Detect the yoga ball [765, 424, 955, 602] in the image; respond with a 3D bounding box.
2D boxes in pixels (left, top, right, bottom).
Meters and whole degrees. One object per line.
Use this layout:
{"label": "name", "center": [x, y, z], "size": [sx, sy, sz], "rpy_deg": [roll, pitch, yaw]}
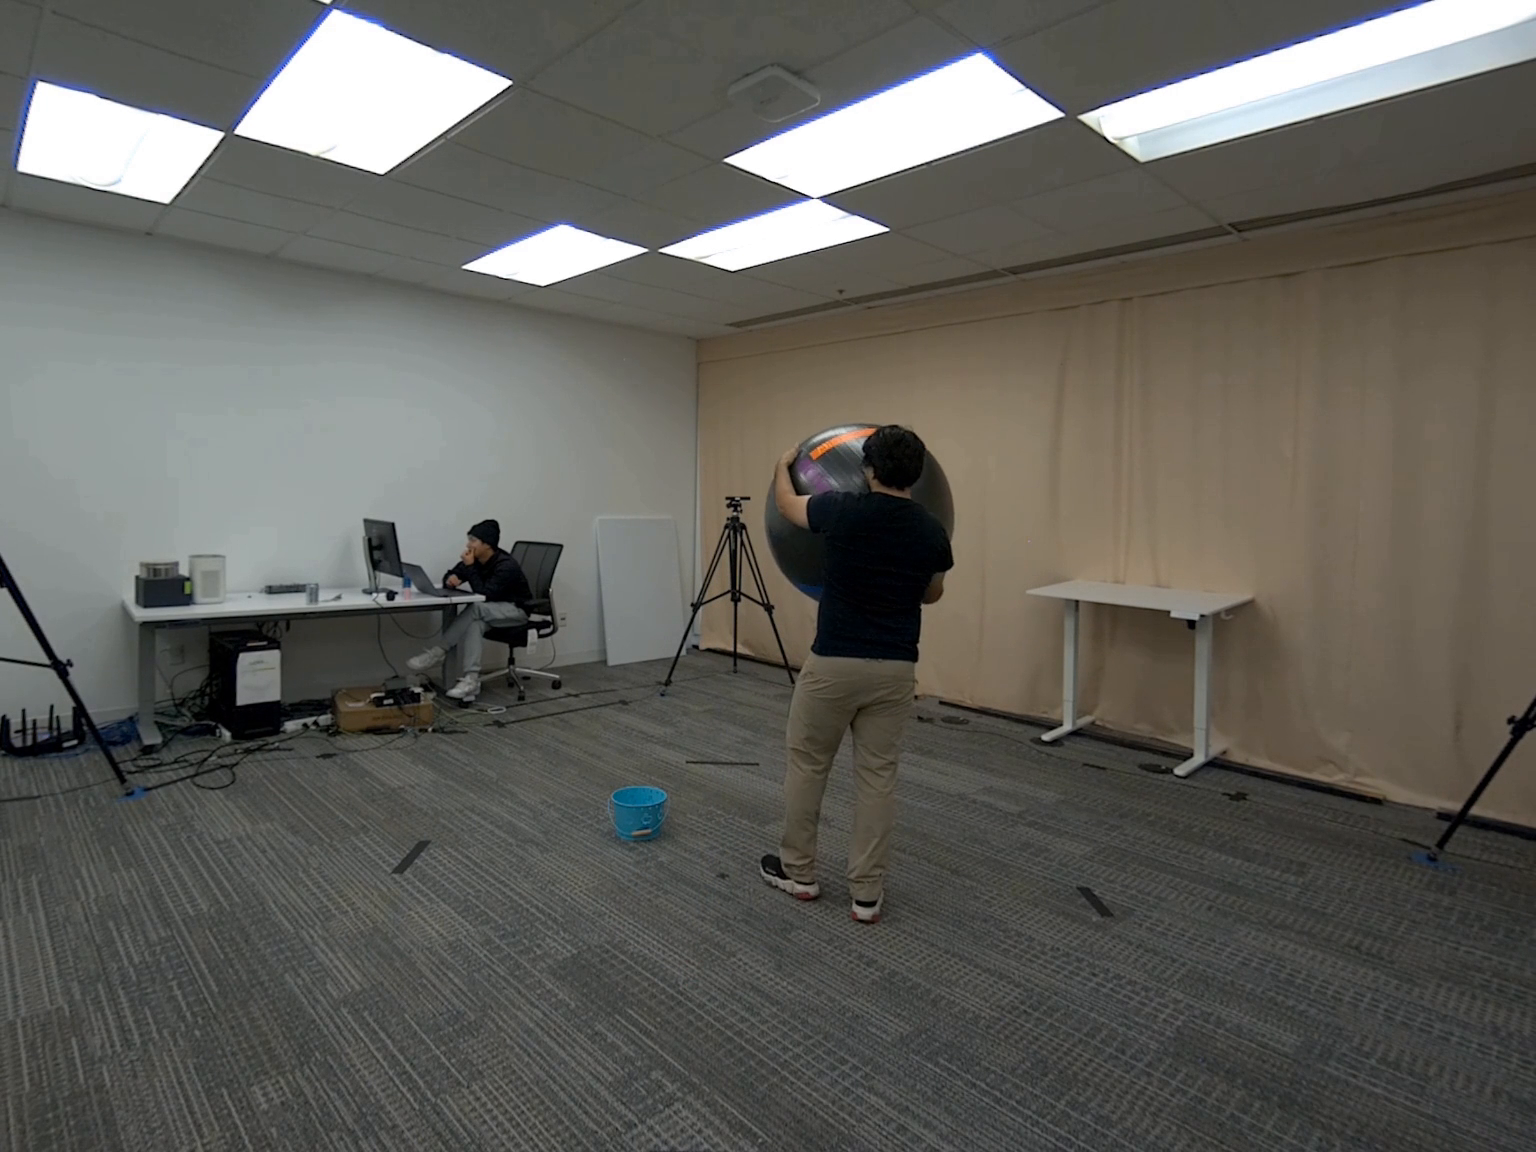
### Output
{"label": "yoga ball", "center": [0.368, -0.238, 3.427], "size": [0.757, 0.756, 0.761], "rpy_deg": [1, 4, -1]}
